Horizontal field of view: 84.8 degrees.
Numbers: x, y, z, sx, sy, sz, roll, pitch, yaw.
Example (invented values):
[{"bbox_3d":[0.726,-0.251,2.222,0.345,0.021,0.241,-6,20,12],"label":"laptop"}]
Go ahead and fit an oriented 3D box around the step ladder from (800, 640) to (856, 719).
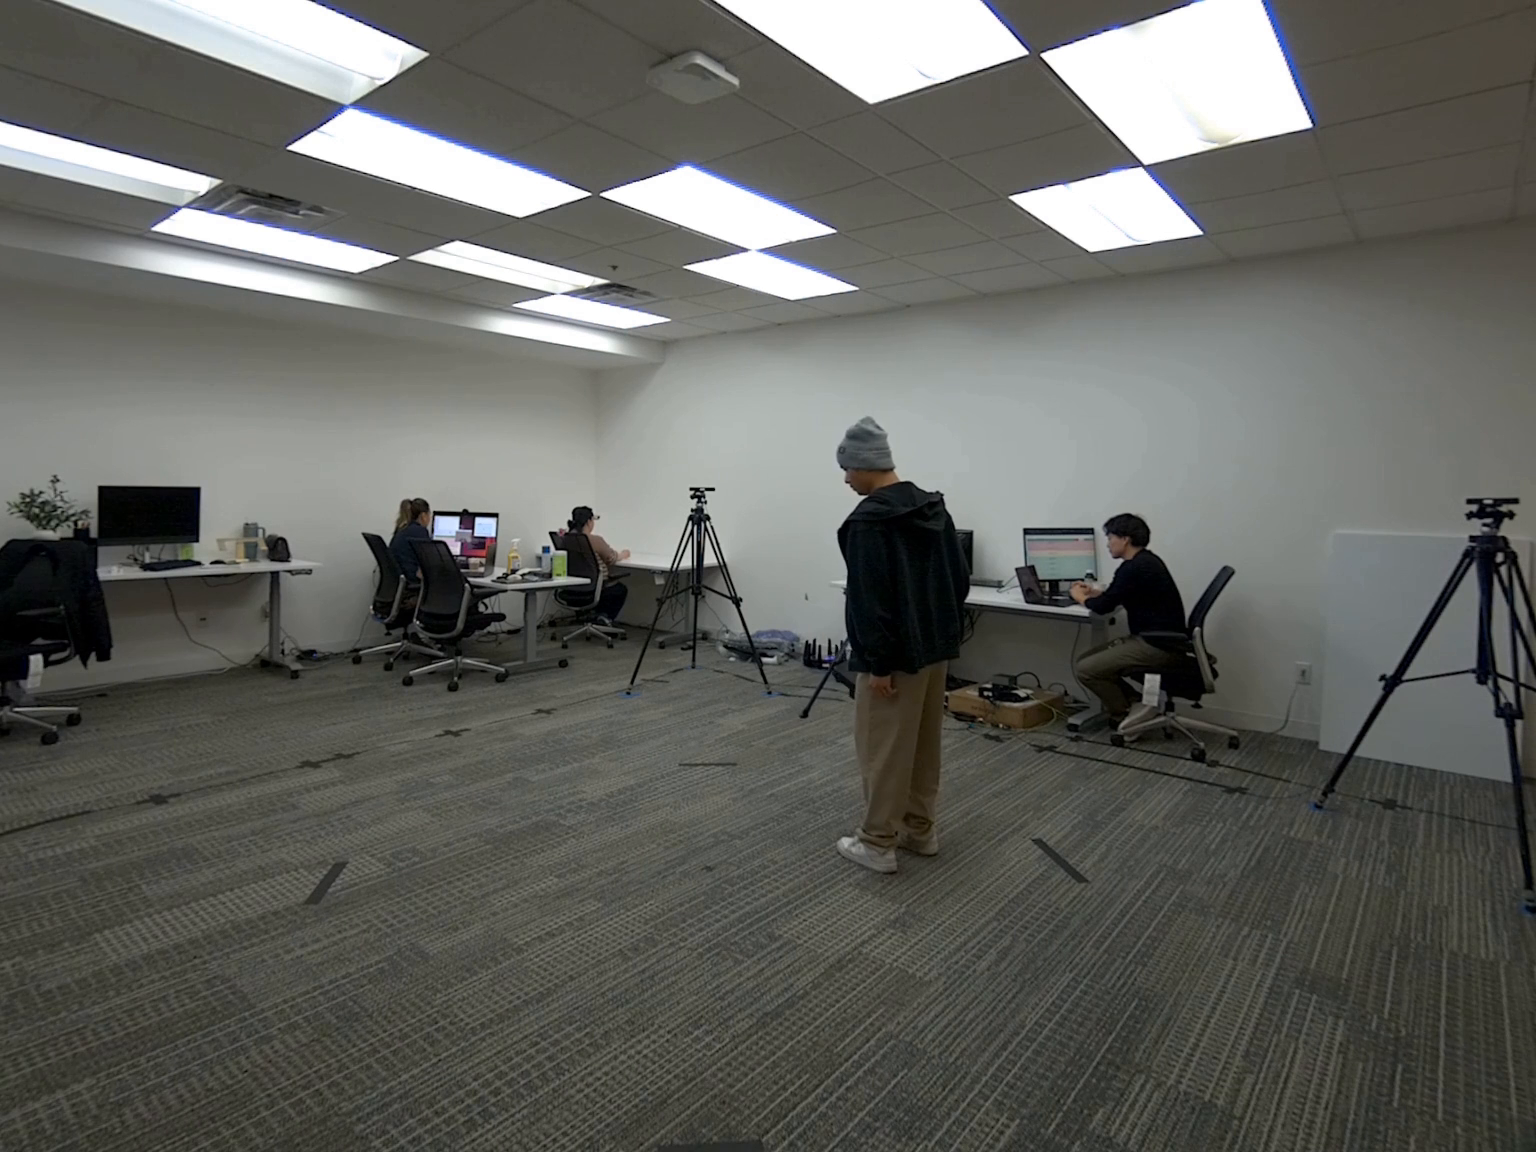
[{"bbox_3d":[0.439,0.406,3.532,0.341,0.596,0.448,-14,37,-43],"label":"step ladder"}]
